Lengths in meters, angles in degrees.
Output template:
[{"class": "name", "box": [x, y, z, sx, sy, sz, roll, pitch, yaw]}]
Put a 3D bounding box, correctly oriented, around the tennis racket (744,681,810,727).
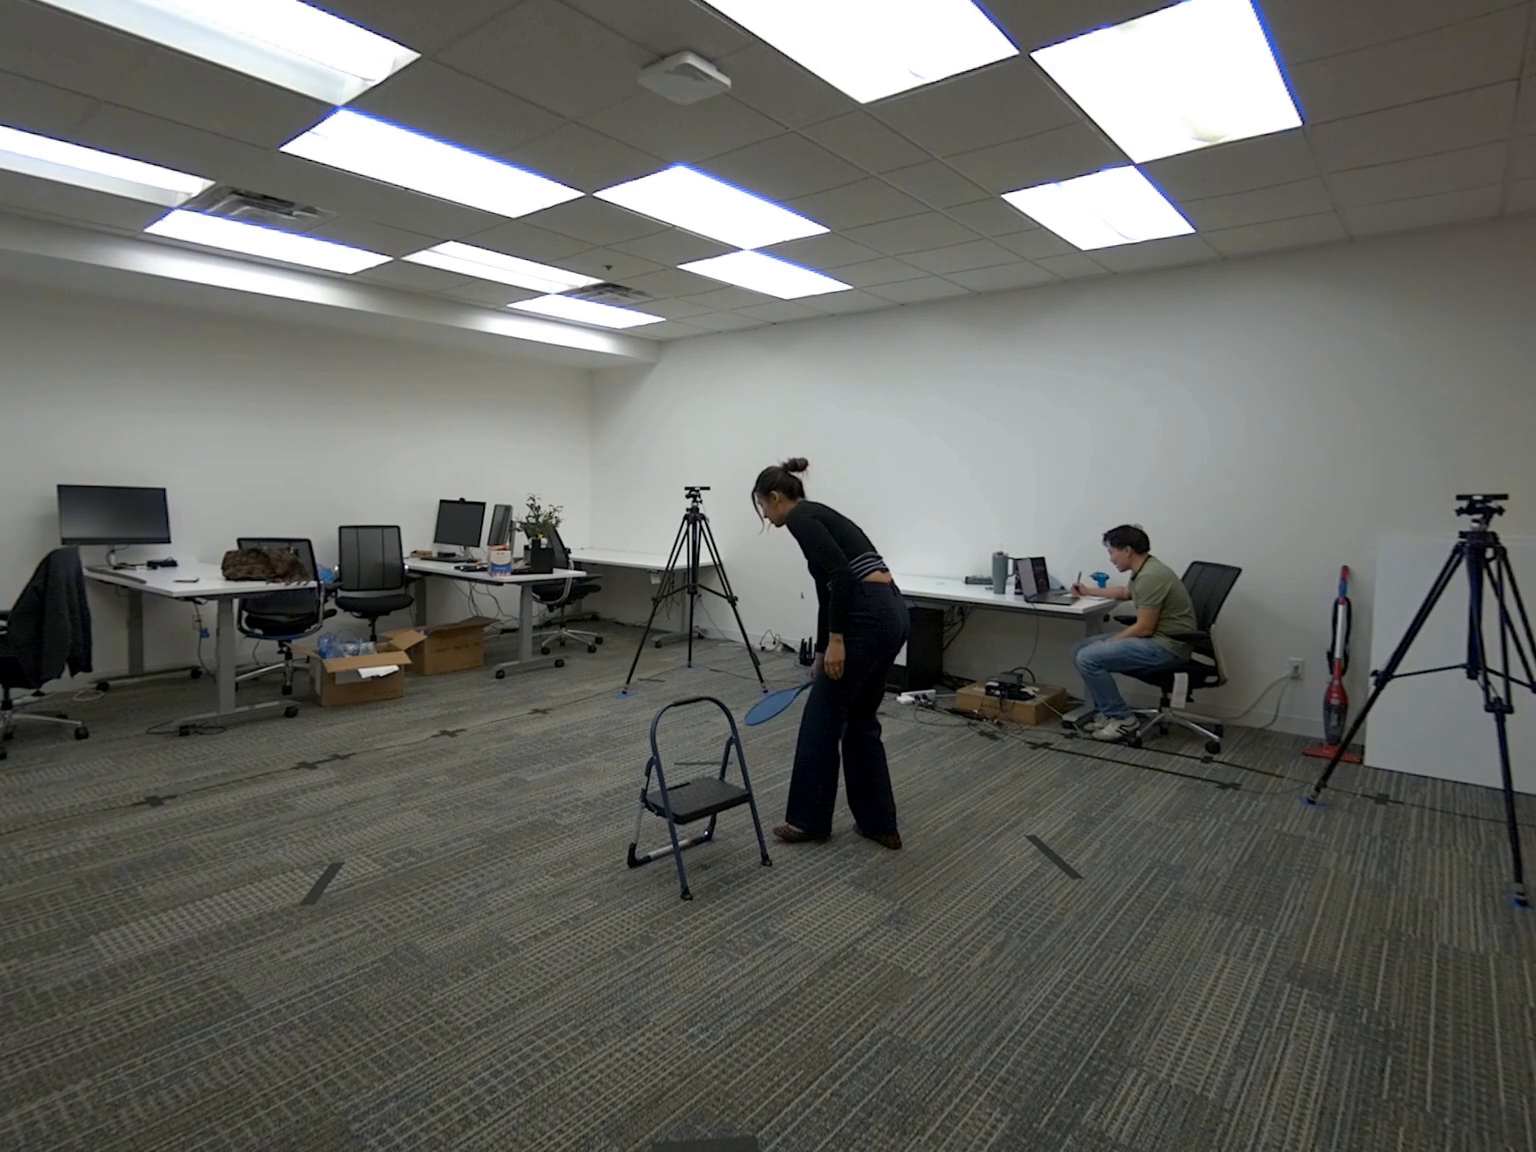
[{"class": "tennis racket", "box": [0.068, 0.552, 3.802, 0.433, 0.031, 0.218, -31, 16, -1]}]
